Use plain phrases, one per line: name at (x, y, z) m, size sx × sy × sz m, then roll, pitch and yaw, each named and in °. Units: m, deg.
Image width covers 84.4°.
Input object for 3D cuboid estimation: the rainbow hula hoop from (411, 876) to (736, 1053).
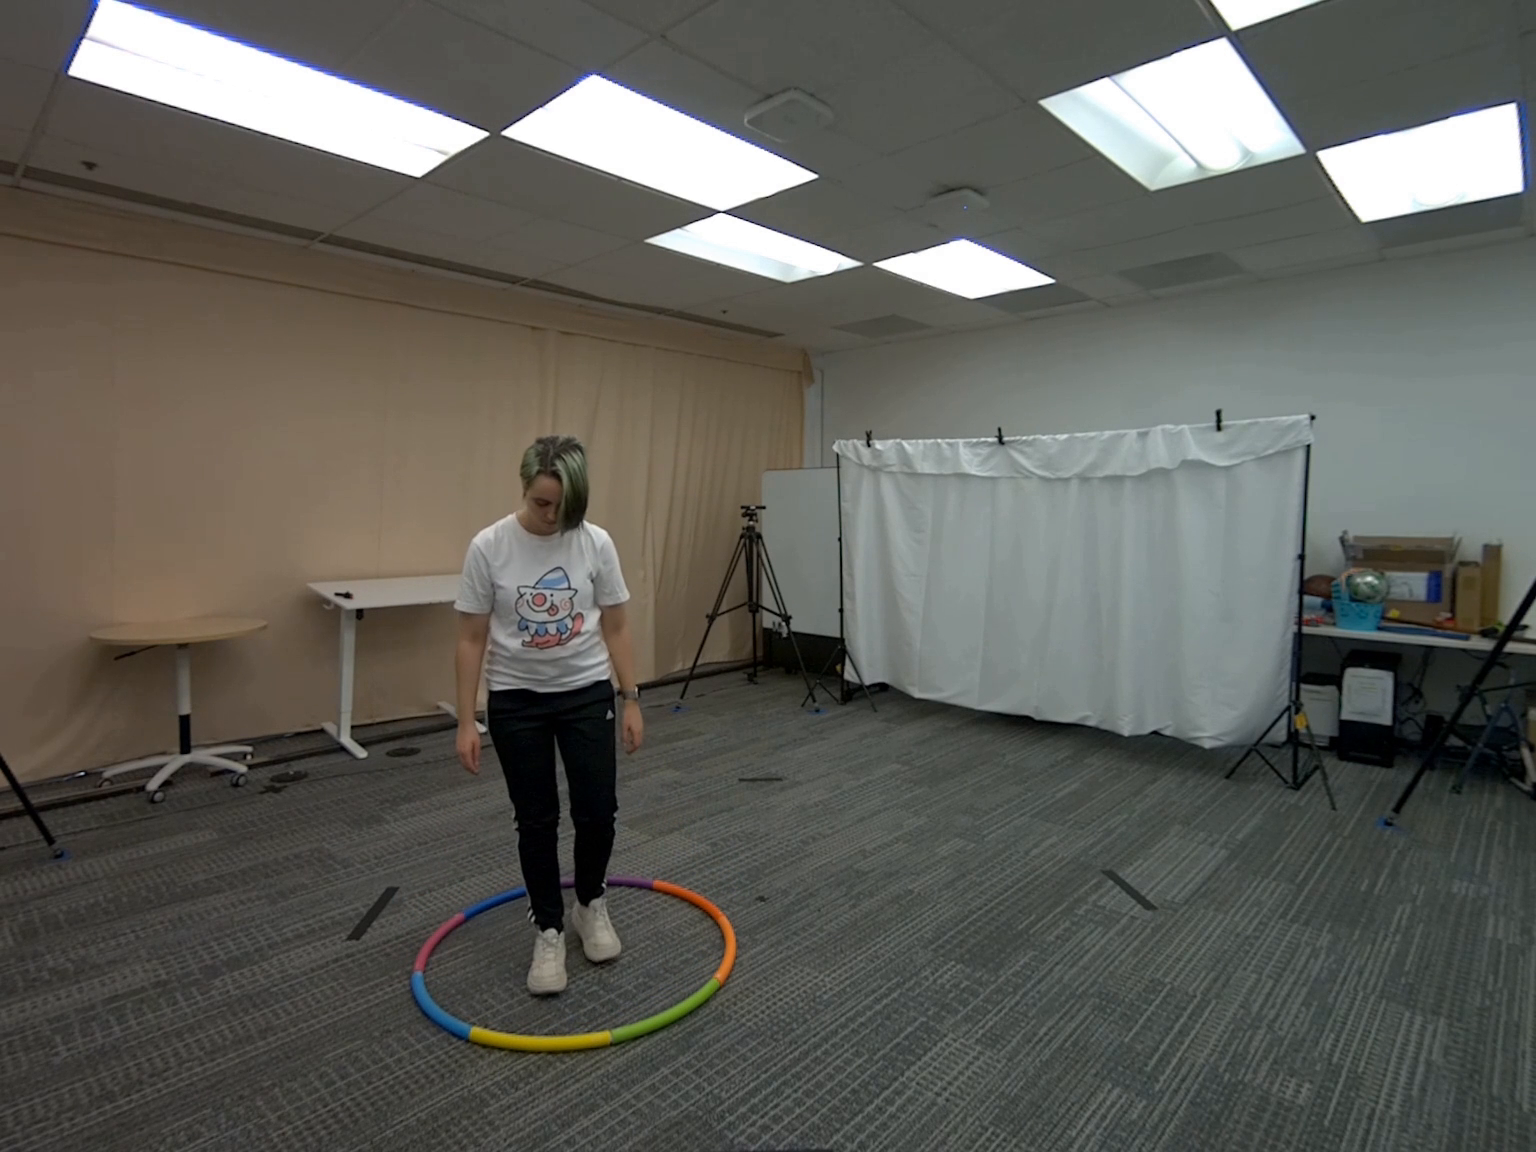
rainbow hula hoop at (-0.589, 1.153, 2.629) m, size 0.985 × 0.051 × 0.989 m, roll 0°, pitch 4°, yaw -2°
